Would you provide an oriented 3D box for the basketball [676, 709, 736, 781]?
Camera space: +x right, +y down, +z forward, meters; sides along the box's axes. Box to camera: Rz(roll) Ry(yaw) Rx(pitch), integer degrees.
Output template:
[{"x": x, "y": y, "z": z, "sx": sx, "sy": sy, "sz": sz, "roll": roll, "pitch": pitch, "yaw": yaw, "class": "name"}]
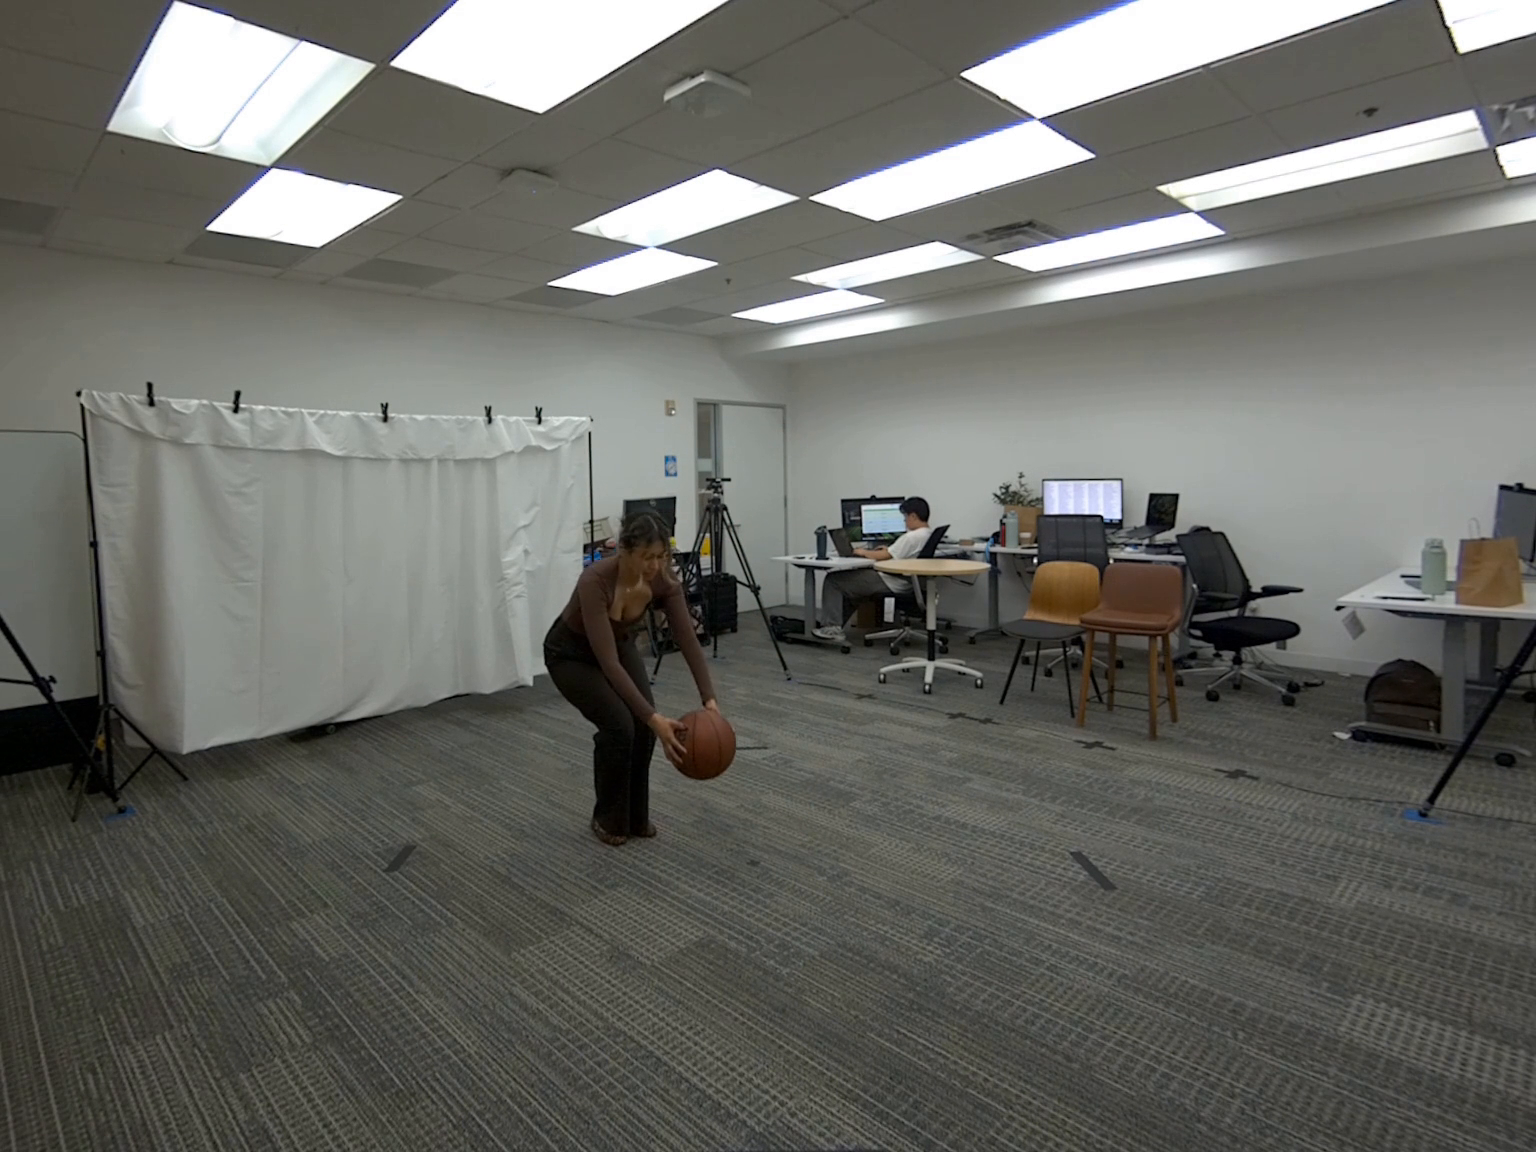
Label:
[{"x": -0.232, "y": 0.577, "z": 2.960, "sx": 0.236, "sy": 0.235, "sz": 0.237, "roll": -1, "pitch": 5, "yaw": -2, "class": "basketball"}]
